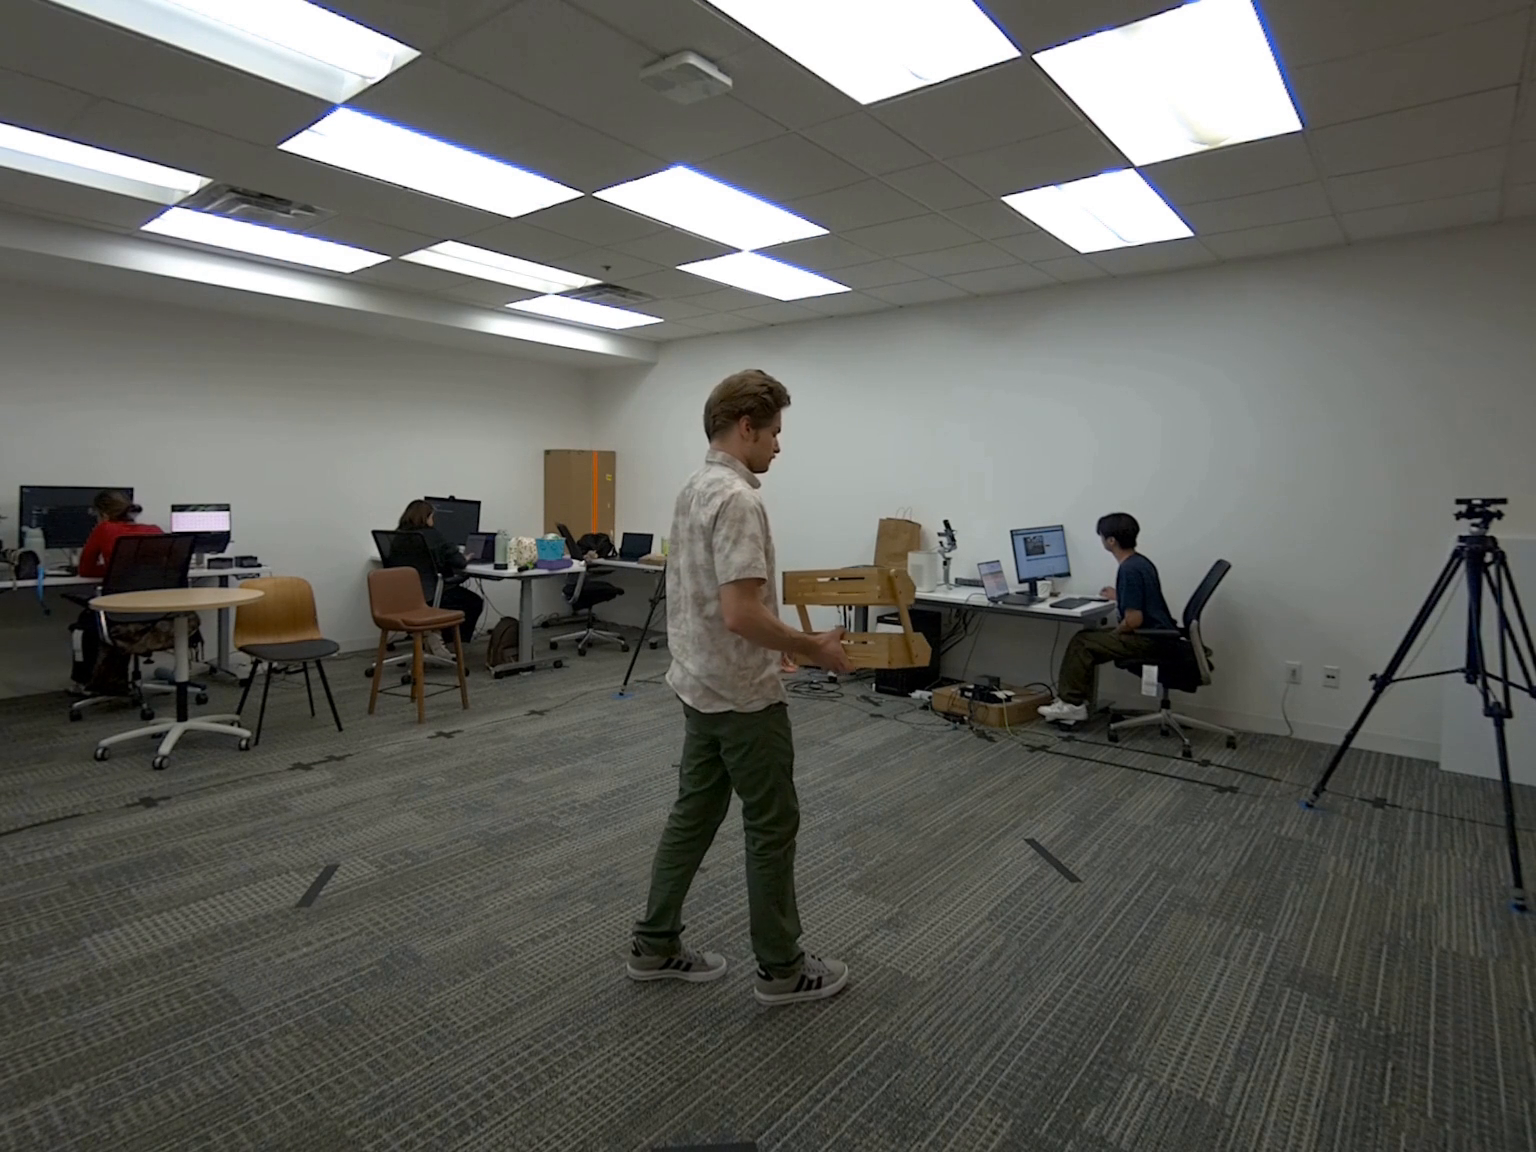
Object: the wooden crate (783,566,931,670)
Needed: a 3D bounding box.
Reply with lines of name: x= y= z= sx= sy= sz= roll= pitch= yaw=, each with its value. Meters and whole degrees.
wooden crate: x=0.245 y=0.113 z=2.369 sx=0.333 sy=0.275 sz=0.292 roll=-5 pitch=-6 yaw=36
